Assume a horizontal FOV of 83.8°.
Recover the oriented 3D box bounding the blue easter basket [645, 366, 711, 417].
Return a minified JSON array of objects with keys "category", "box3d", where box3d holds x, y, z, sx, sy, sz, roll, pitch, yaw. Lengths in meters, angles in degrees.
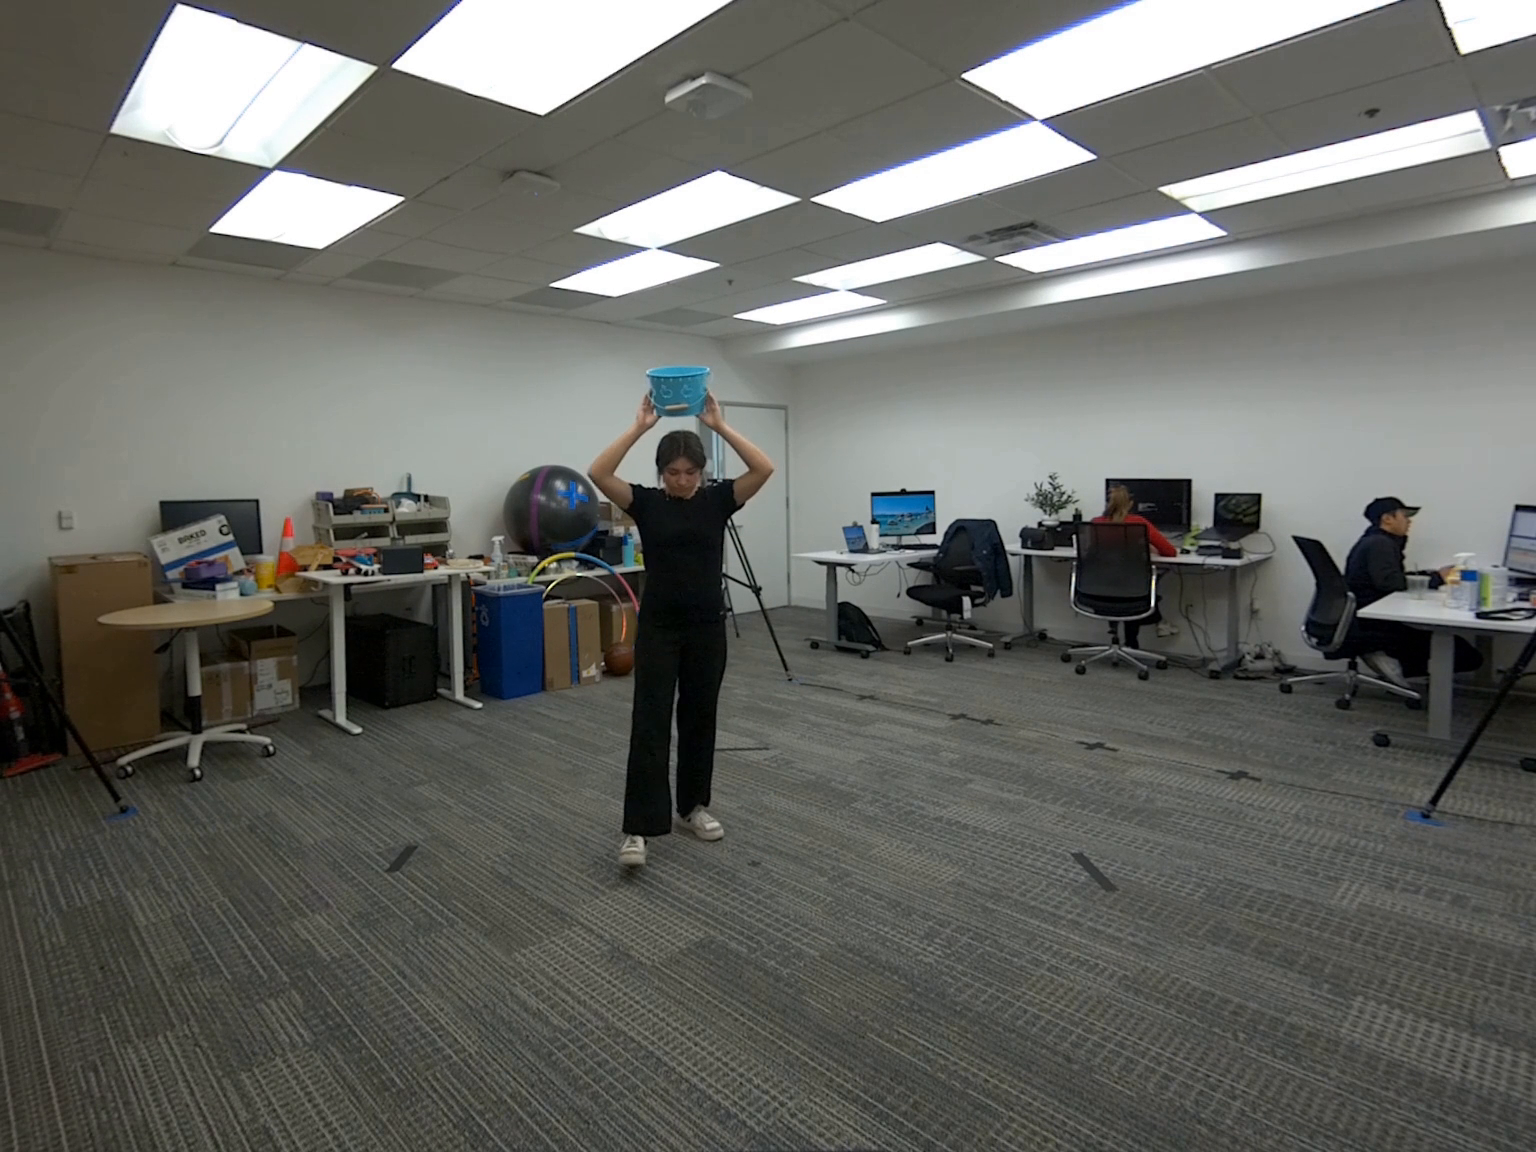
[{"category":"blue easter basket","box3d":[-0.342,-0.675,3.118,0.244,0.153,0.248,-3,23,-1]}]
